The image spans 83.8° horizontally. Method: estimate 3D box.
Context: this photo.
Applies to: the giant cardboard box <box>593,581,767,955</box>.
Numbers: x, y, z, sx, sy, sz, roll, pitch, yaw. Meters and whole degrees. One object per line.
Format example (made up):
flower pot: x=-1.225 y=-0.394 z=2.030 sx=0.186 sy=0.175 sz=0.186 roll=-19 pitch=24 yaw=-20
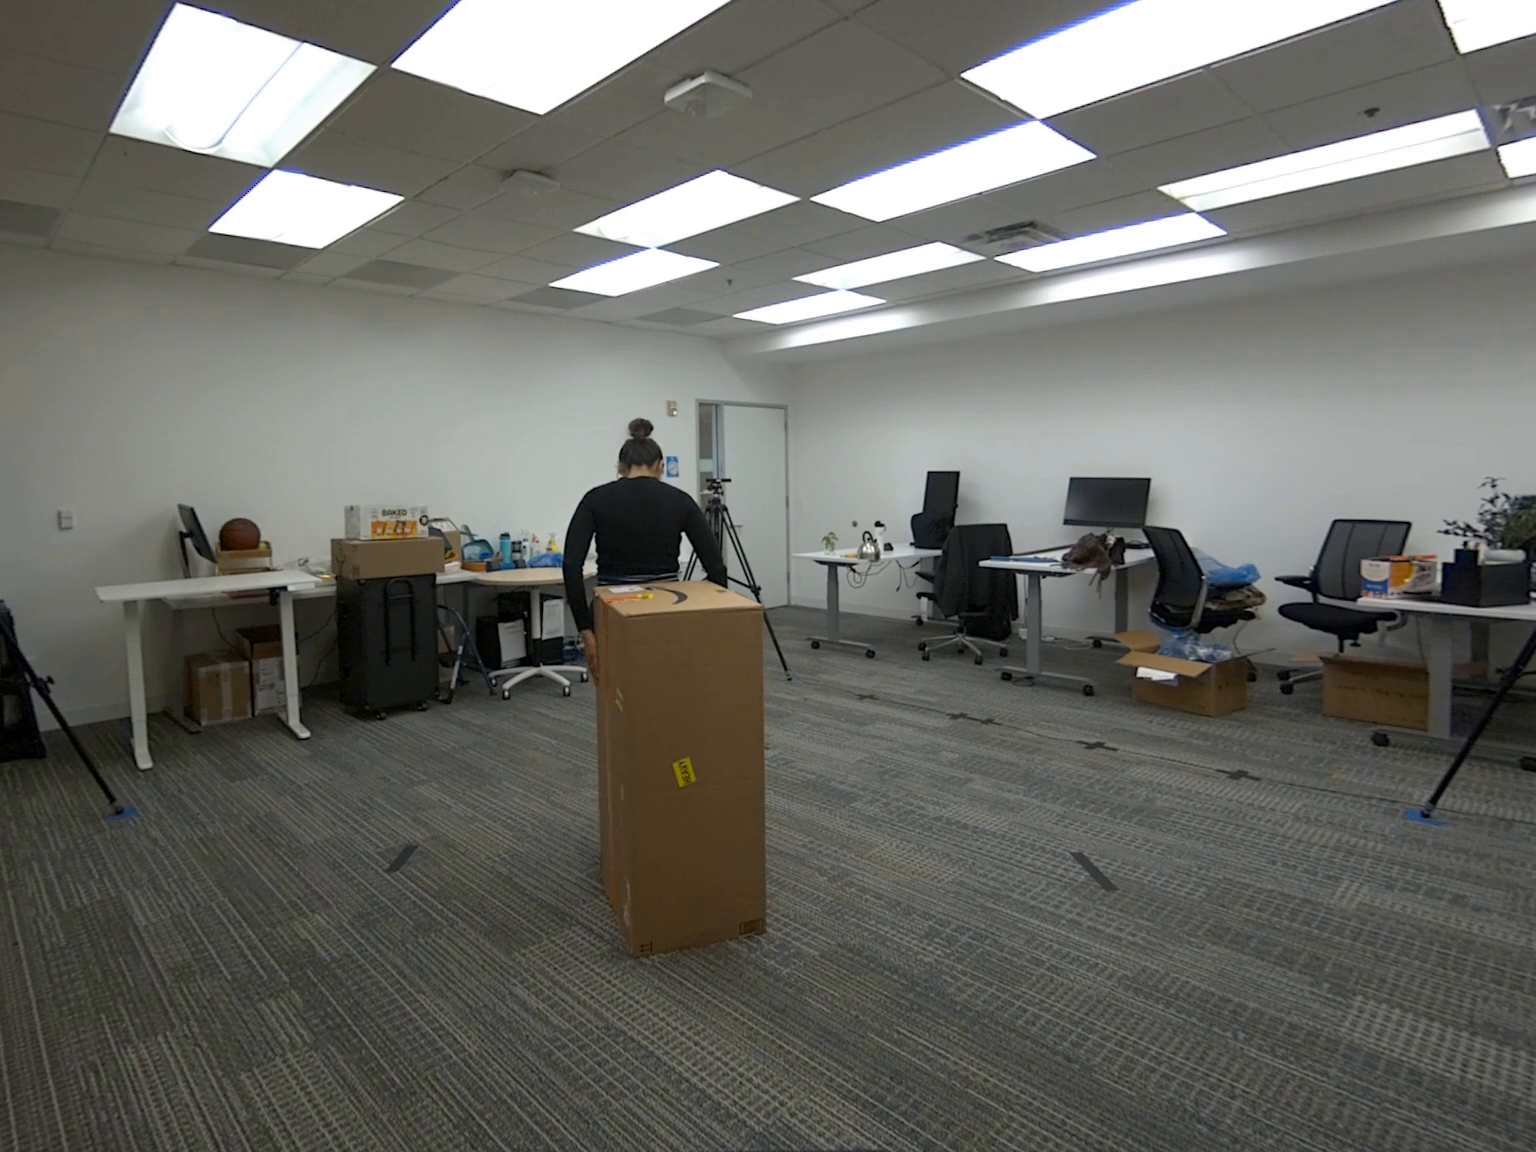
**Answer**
giant cardboard box: x=-0.300 y=0.574 z=2.783 sx=0.419 sy=1.021 sz=0.590 roll=-3 pitch=6 yaw=-20
